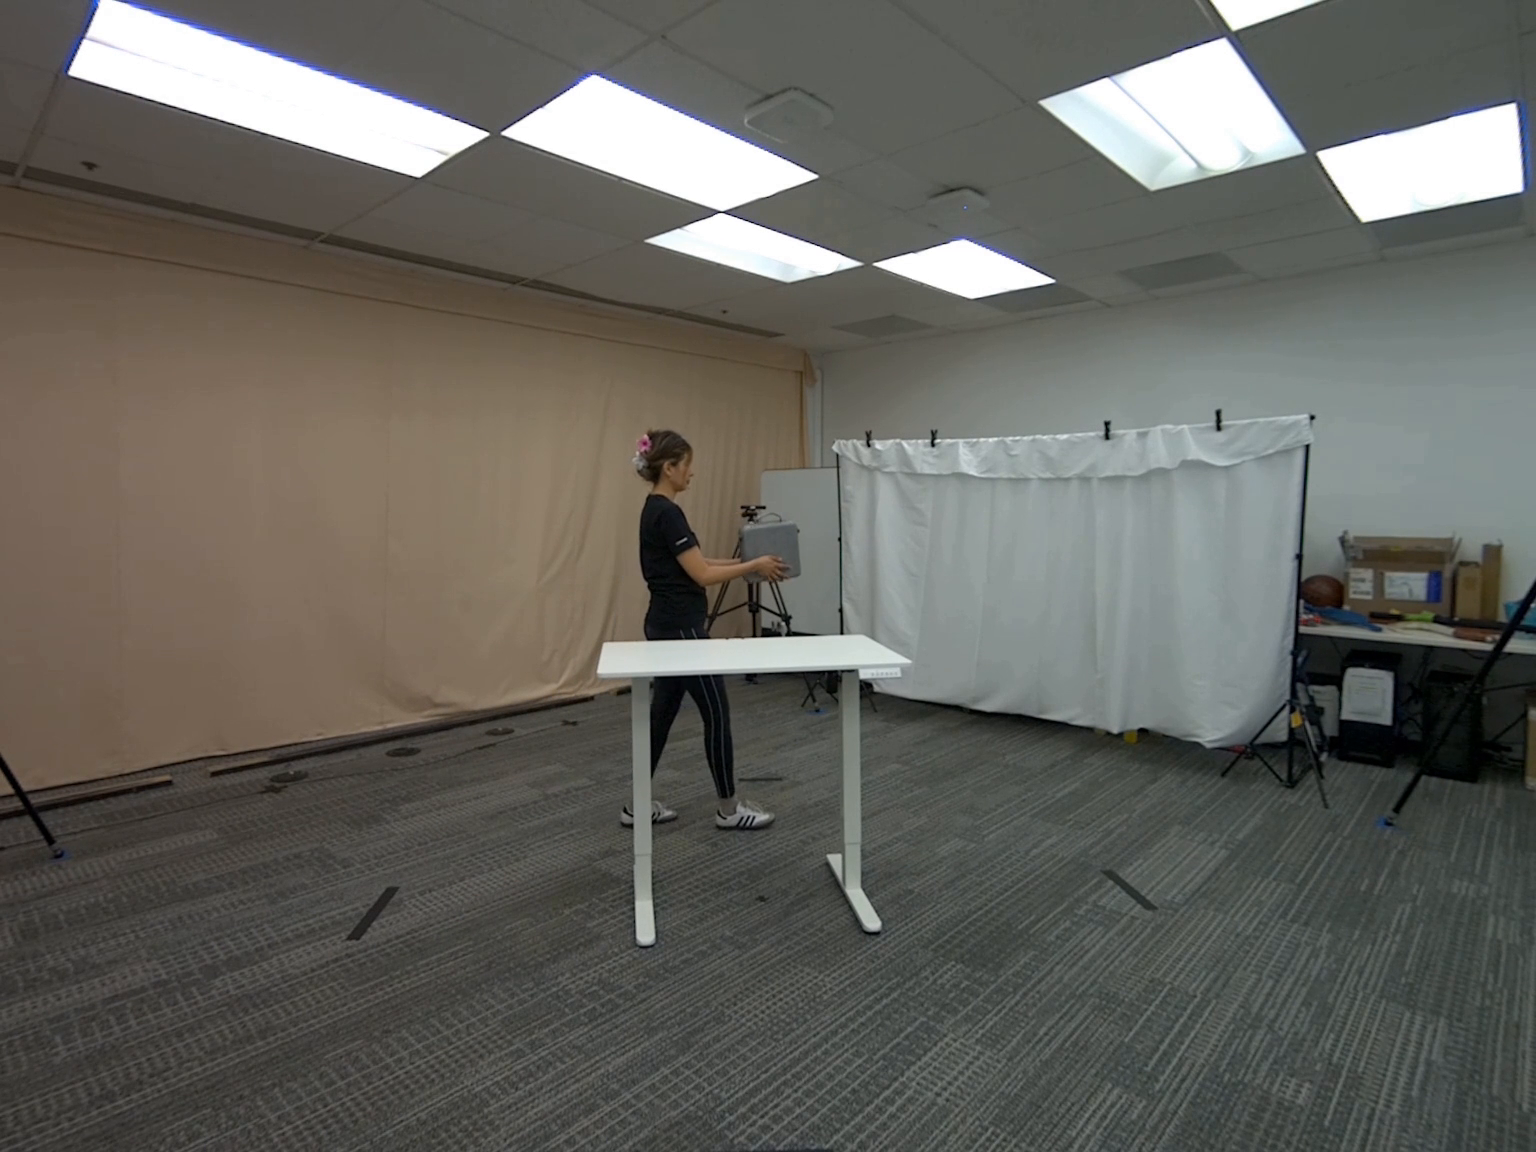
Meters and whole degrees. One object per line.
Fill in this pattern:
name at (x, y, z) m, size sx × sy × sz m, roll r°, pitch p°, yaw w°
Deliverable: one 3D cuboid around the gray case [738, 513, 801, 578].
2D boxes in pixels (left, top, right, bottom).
gray case at (0.018, -0.114, 3.664) m, size 0.254 × 0.258 × 0.106 m, roll -8°, pitch 10°, yaw -10°
